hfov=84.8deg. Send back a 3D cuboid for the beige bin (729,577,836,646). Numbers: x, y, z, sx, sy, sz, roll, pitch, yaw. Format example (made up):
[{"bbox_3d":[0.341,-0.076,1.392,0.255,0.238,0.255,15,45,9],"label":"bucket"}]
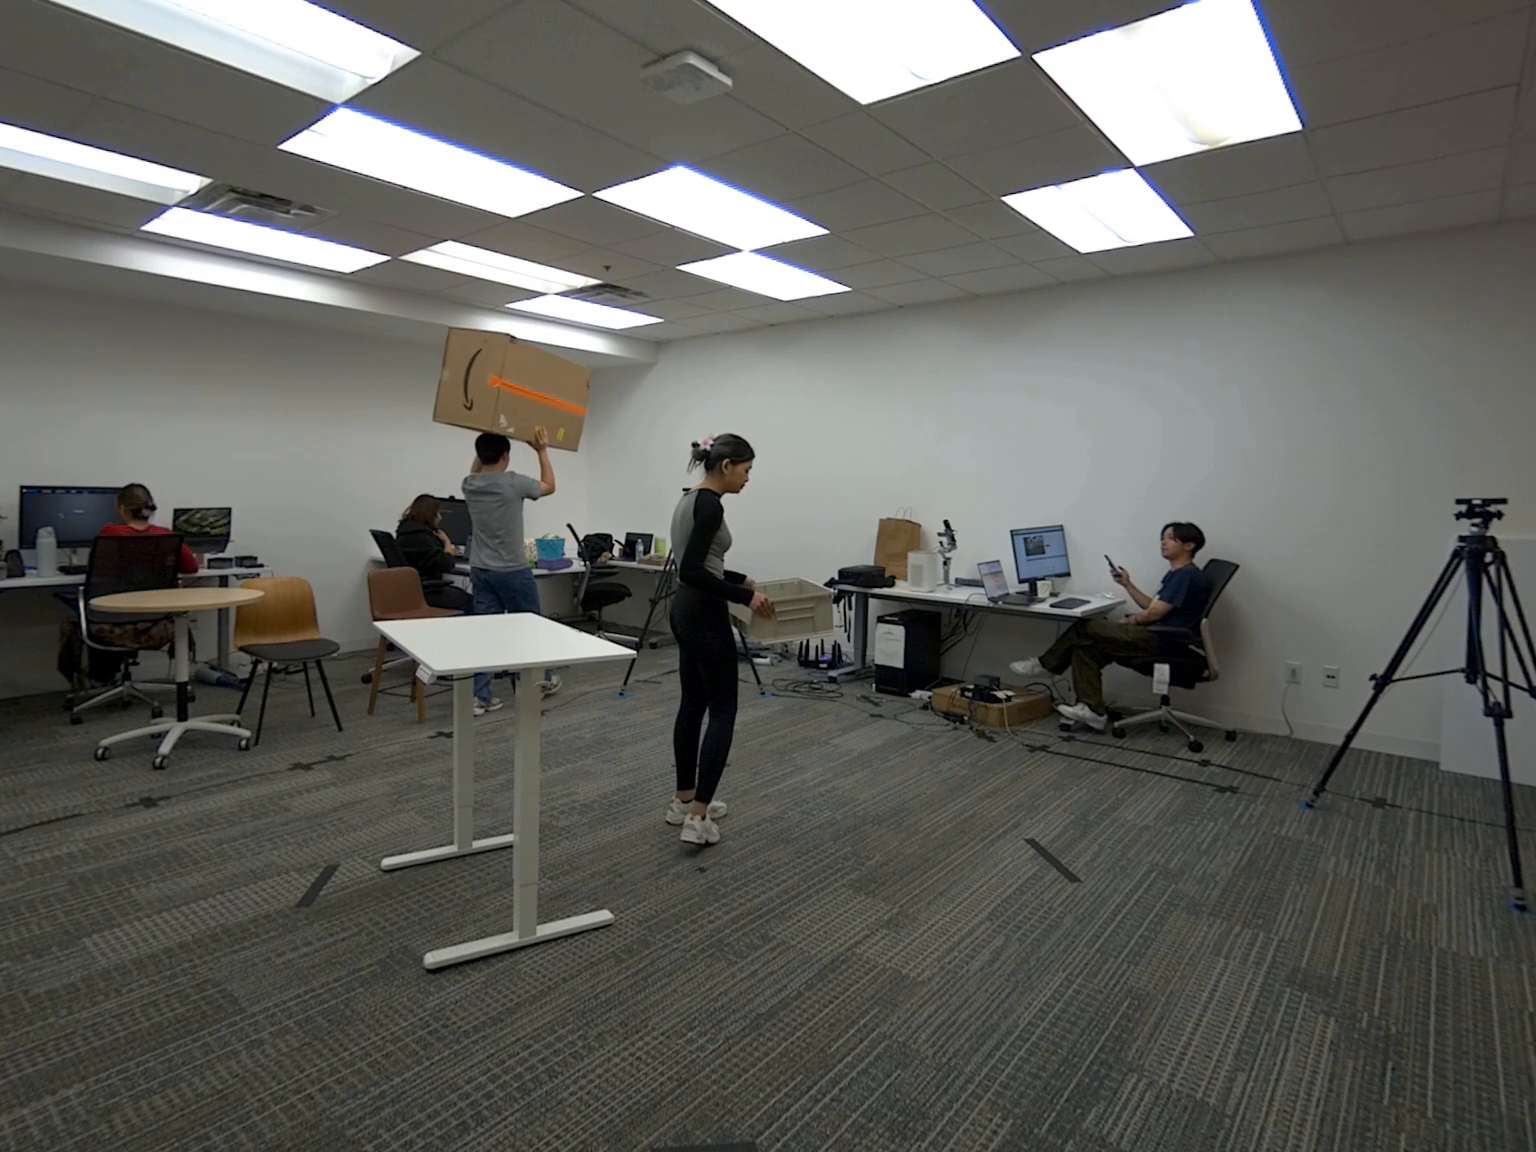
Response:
[{"bbox_3d":[0.026,0.139,3.577,0.372,0.188,0.431,-5,8,-15],"label":"beige bin"}]
